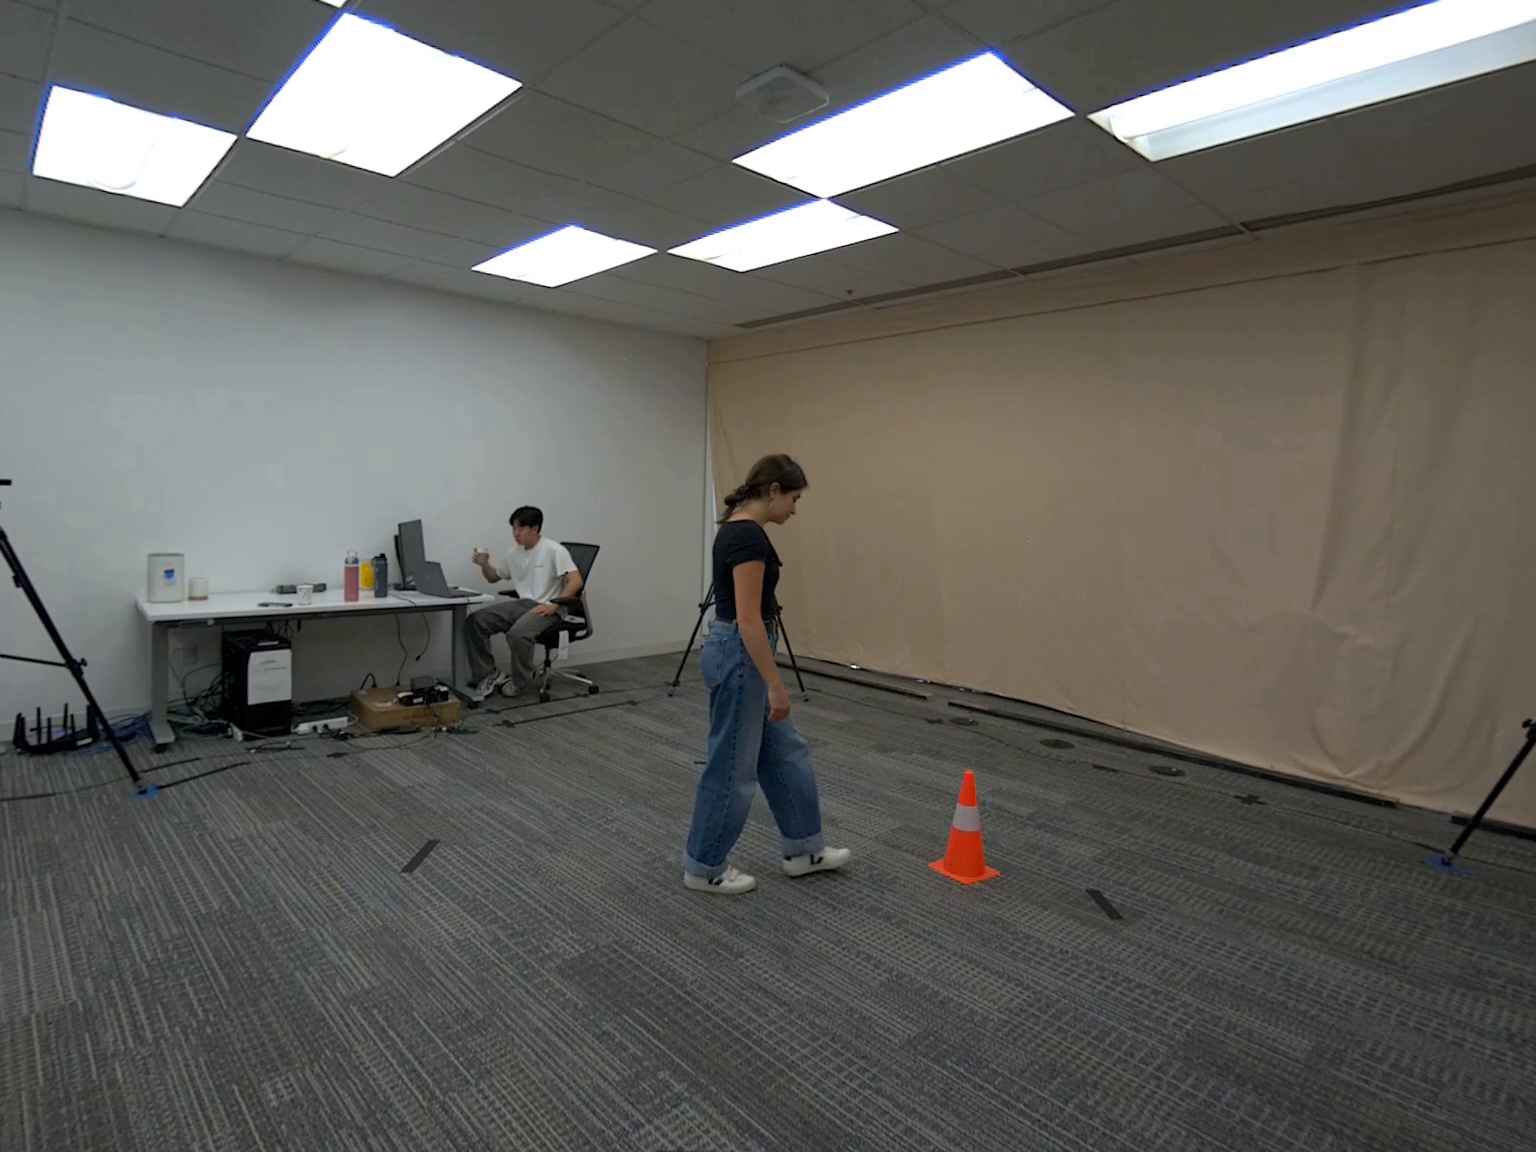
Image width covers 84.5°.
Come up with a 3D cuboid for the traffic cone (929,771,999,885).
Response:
[{"bbox_3d":[0.744,0.935,3.205,0.199,0.382,0.210,0,5,-30],"label":"traffic cone"}]
